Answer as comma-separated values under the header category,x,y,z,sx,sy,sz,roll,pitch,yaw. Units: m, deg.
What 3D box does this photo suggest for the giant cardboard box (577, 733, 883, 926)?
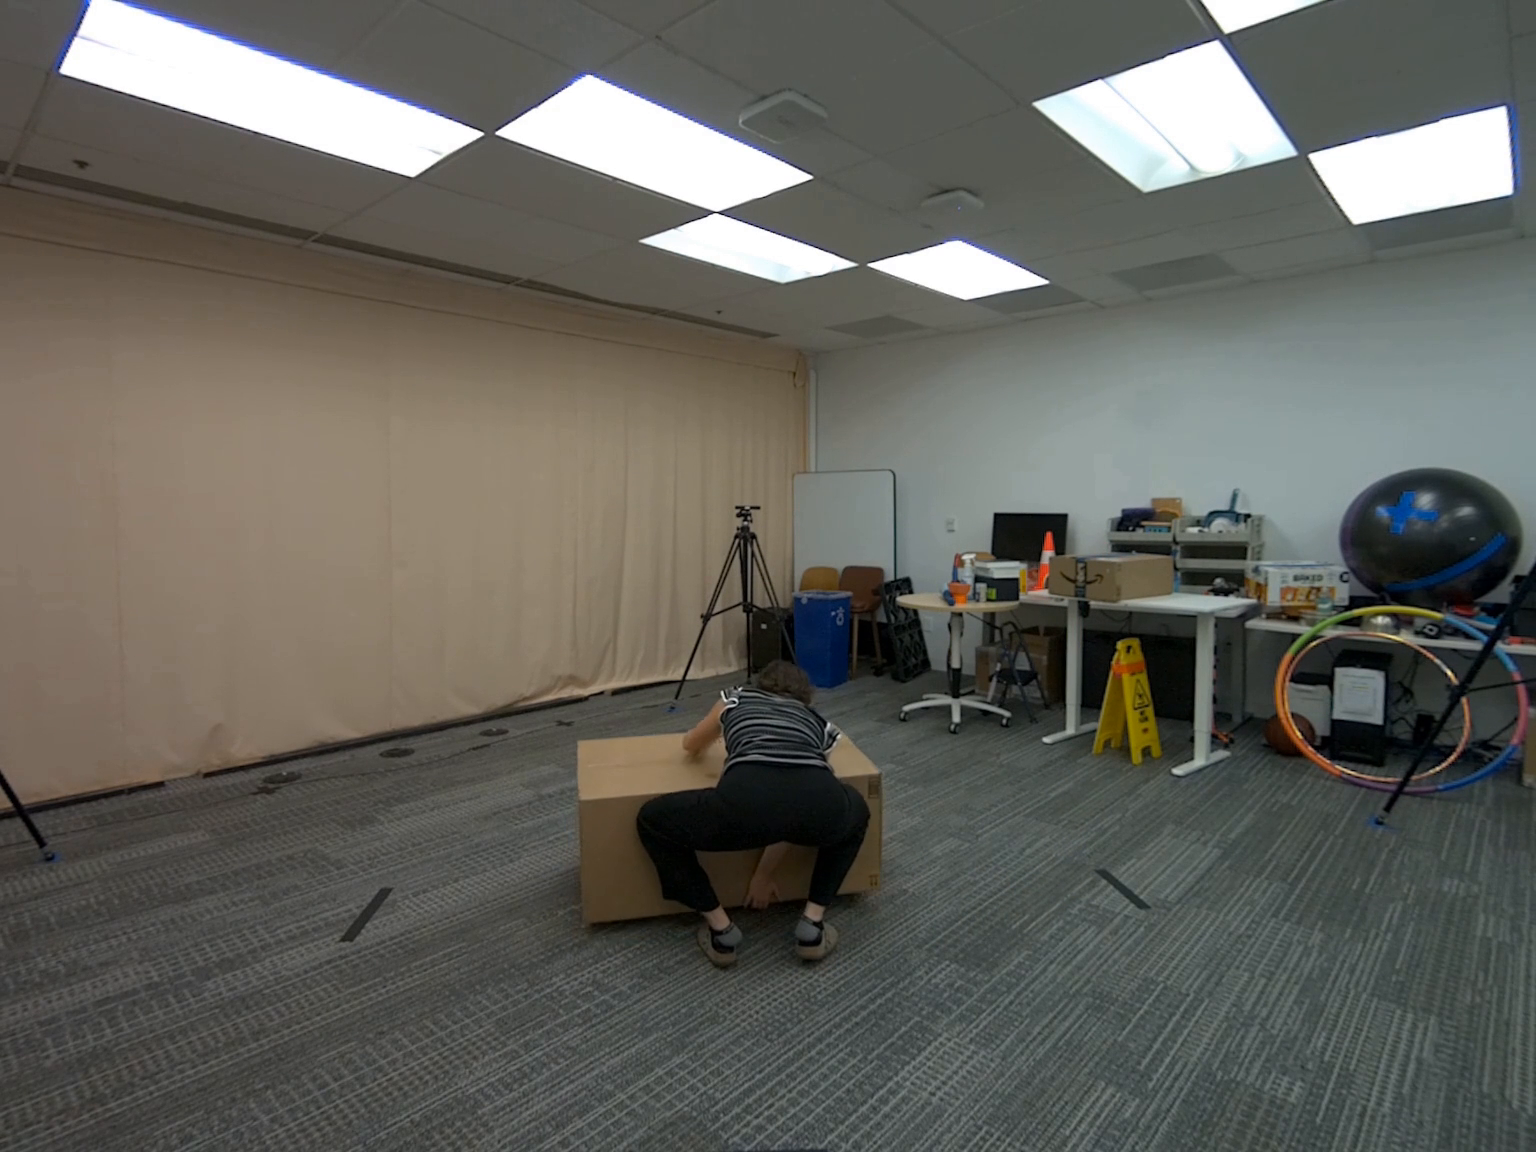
category,x,y,z,sx,sy,sz,roll,pitch,yaw
giant cardboard box,-0.168,0.845,3.063,1.015,0.424,0.587,-3,8,-11
